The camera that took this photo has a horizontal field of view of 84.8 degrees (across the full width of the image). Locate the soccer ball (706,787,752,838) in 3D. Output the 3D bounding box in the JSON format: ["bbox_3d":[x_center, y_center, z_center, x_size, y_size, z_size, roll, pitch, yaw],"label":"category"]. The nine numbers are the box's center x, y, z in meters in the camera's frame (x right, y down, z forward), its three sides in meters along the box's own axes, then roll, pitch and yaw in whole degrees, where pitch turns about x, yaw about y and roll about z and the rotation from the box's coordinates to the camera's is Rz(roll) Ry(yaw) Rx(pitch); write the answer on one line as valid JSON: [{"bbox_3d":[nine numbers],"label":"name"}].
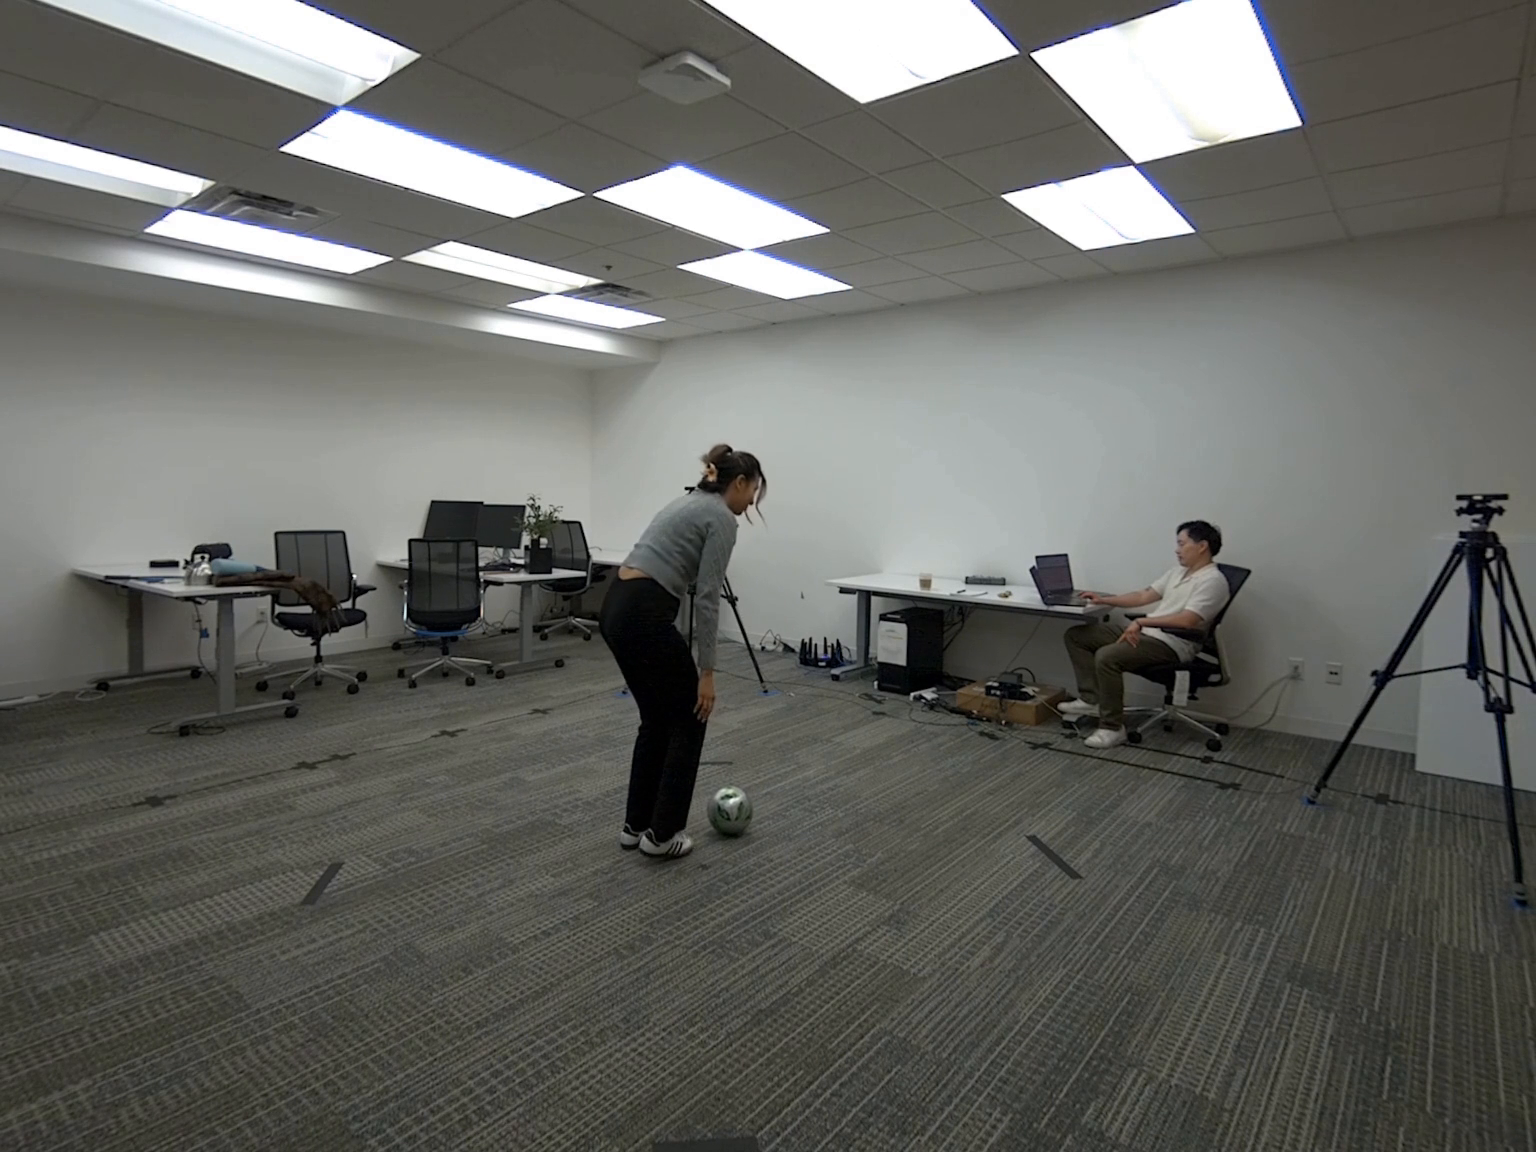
[{"bbox_3d":[-0.165,0.945,3.421,0.187,0.187,0.188,1,4,-2],"label":"soccer ball"}]
